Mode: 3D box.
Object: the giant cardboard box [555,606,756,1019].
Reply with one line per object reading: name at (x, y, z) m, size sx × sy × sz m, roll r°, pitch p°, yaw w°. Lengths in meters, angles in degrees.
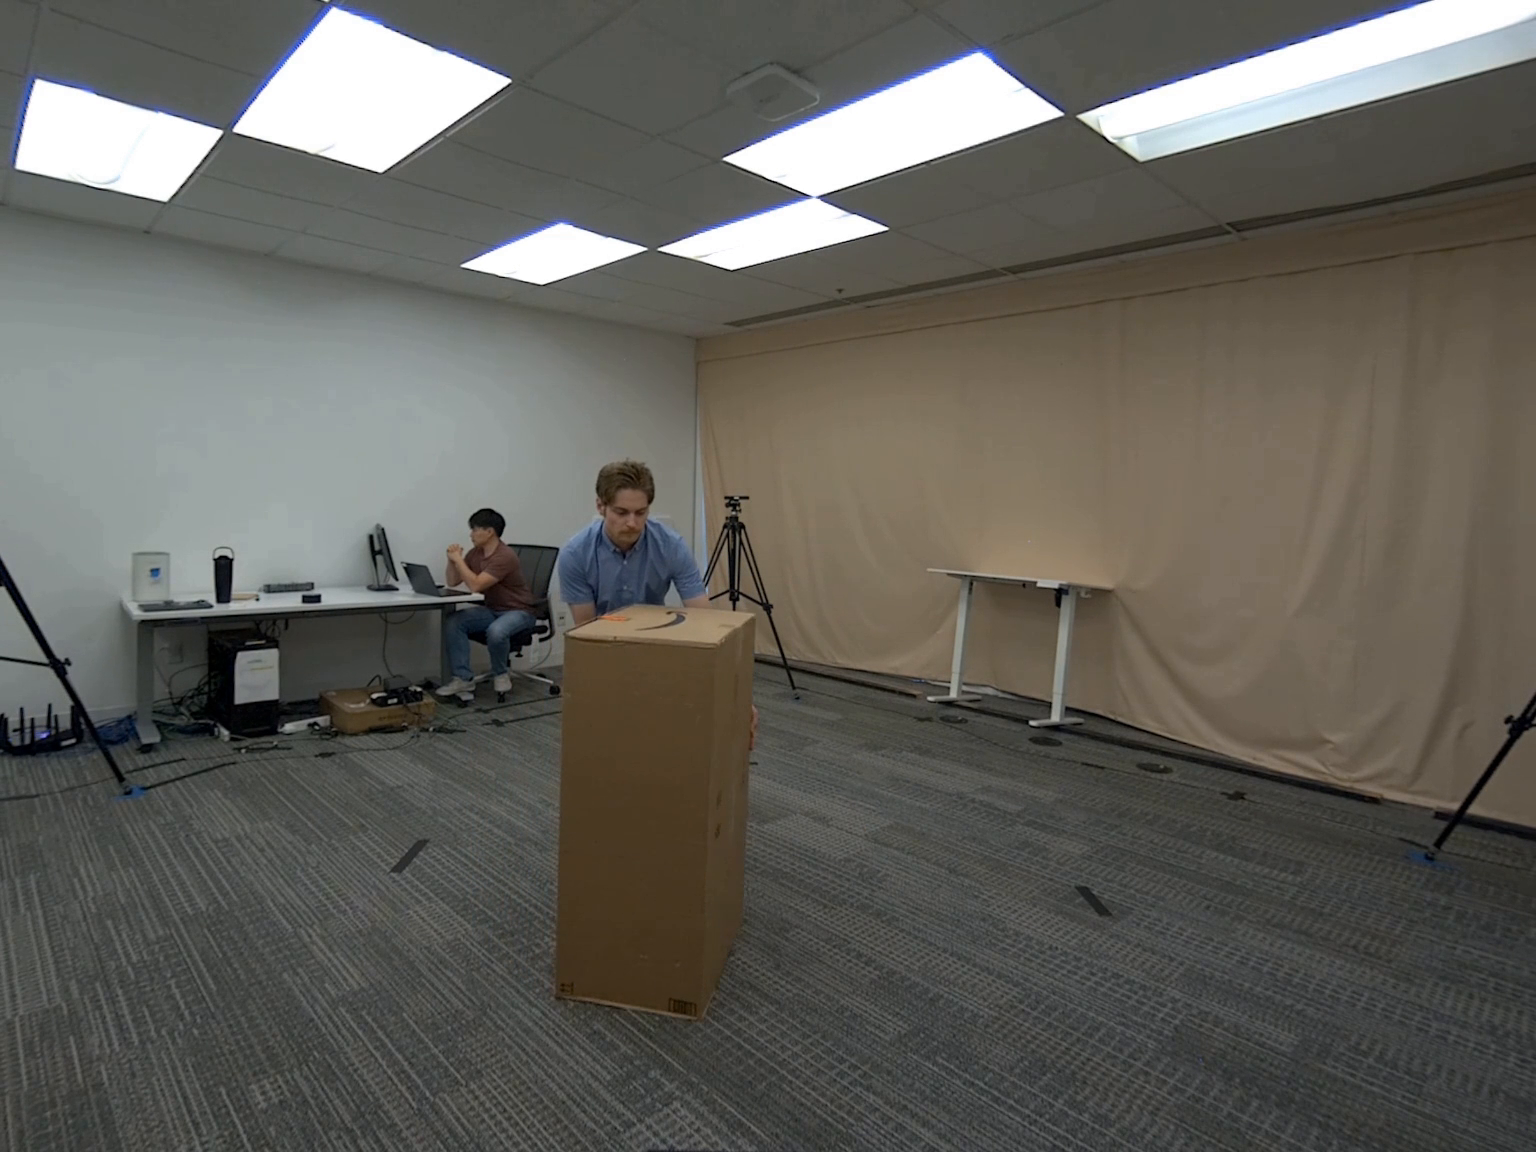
giant cardboard box at (-0.319, 0.645, 2.512) m, size 0.430 × 1.022 × 0.574 m, roll 3°, pitch 5°, yaw 11°
